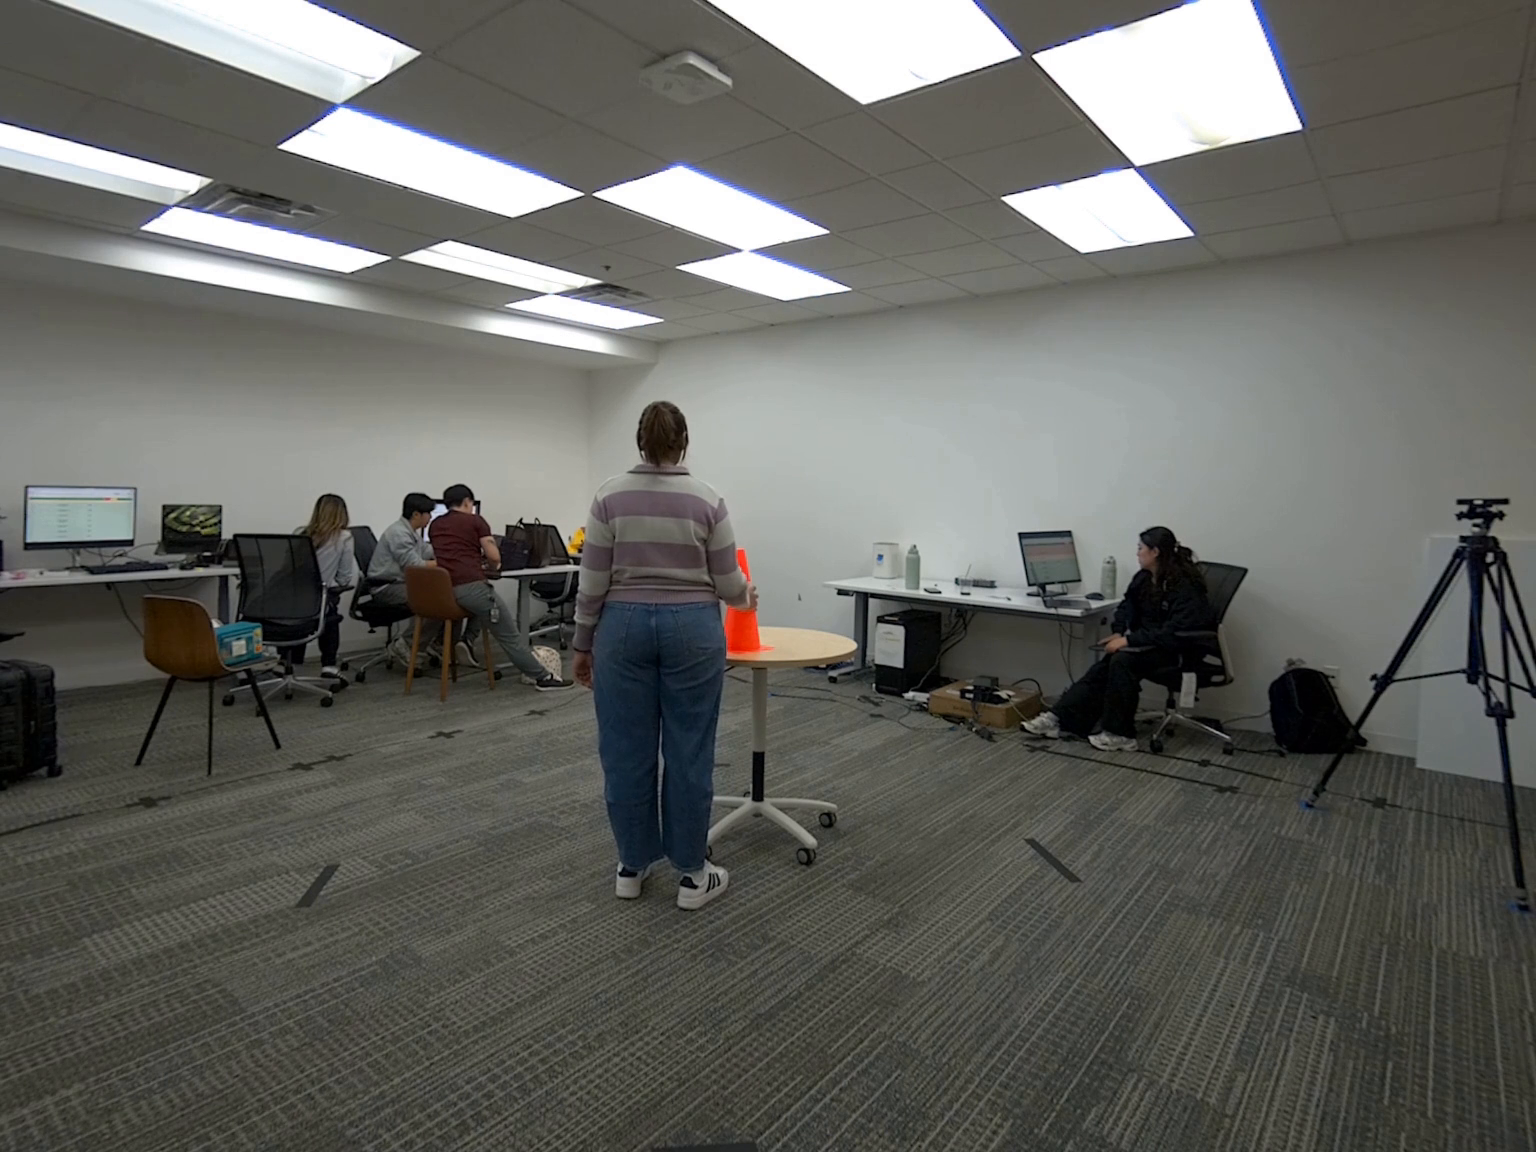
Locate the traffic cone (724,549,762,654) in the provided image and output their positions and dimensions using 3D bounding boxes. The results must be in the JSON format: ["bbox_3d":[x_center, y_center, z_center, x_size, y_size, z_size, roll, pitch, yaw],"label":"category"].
[{"bbox_3d":[-0.112,0.088,3.253,0.197,0.381,0.212,-5,9,-42],"label":"traffic cone"}]
